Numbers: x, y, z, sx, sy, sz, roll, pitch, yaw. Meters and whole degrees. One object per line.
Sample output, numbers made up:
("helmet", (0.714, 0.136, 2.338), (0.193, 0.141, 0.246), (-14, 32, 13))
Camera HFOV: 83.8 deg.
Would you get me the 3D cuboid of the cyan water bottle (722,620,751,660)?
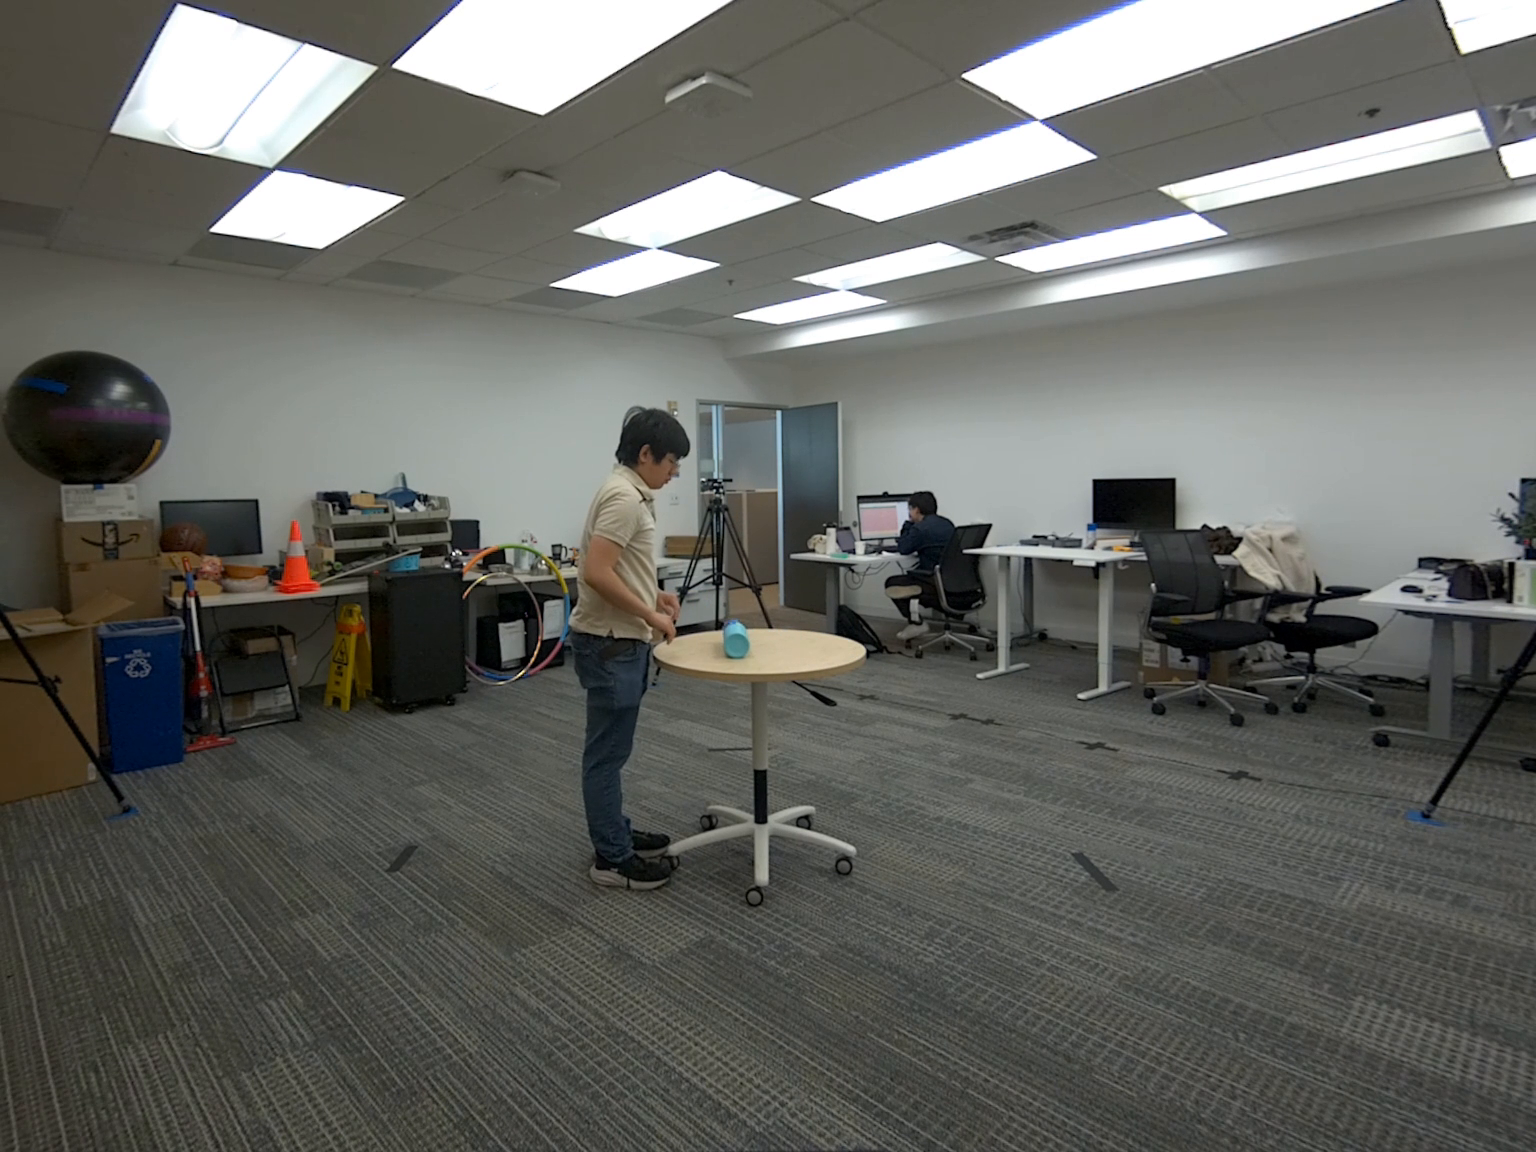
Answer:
("cyan water bottle", (-0.121, 0.220, 3.062), (0.092, 0.092, 0.285), (-1, 6, -4))
